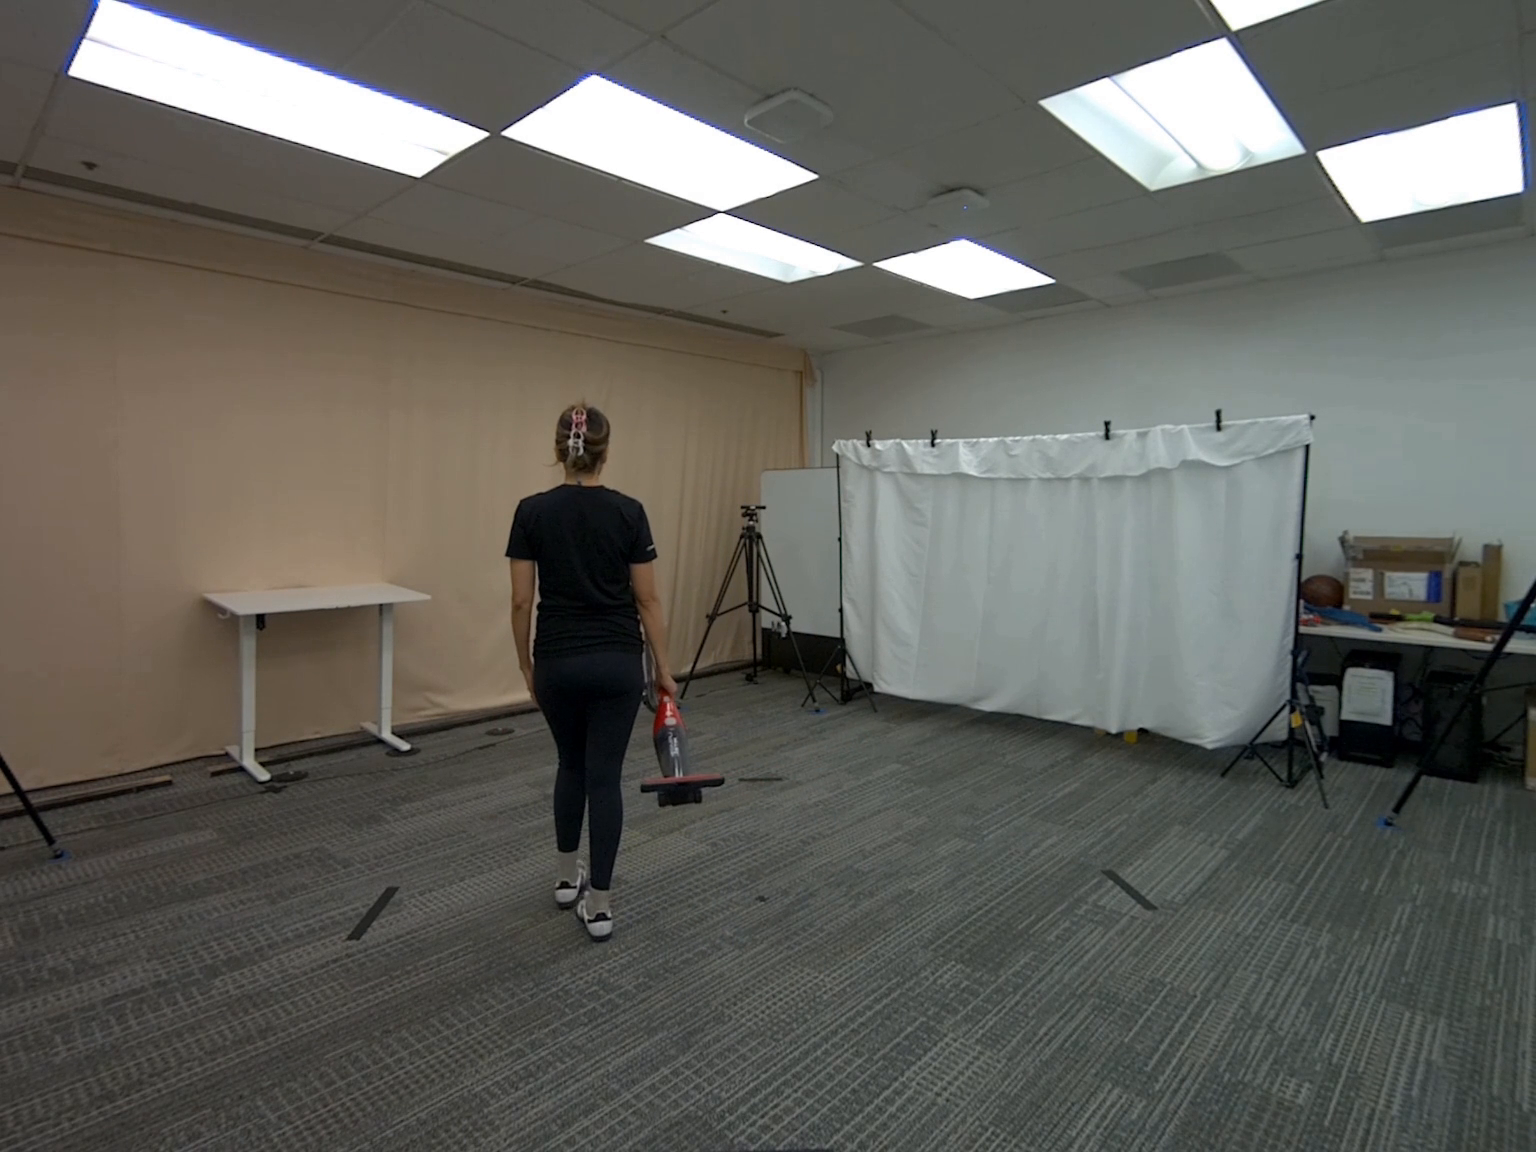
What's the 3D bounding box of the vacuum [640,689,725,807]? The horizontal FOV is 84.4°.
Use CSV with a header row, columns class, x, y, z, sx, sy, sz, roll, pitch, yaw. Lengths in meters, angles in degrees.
class,x,y,z,sx,sy,sz,roll,pitch,yaw
vacuum,-0.376,0.400,2.984,0.249,0.142,1.078,-4,31,-13
